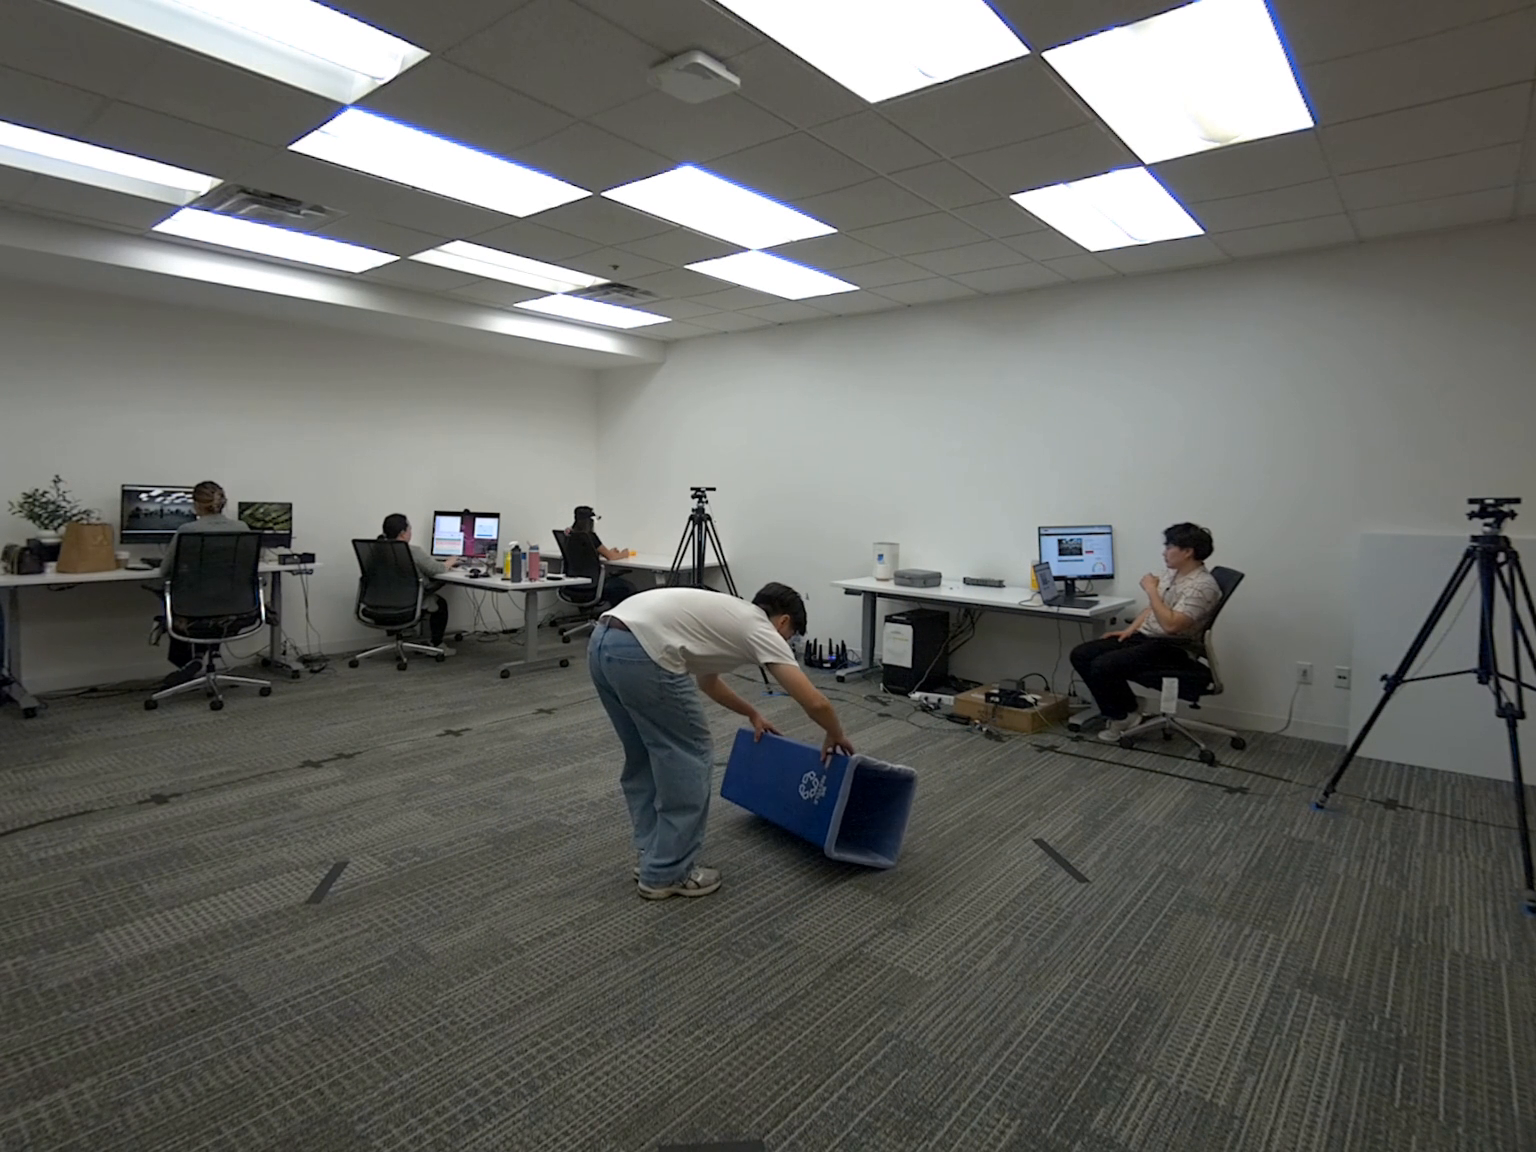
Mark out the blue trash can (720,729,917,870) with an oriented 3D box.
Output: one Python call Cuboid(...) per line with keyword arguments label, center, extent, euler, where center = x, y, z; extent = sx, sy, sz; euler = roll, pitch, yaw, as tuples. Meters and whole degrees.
Cuboid(label="blue trash can", center=(0.154, 0.847, 3.369), extent=(0.360, 0.380, 0.736), euler=(23, -12, -37))
